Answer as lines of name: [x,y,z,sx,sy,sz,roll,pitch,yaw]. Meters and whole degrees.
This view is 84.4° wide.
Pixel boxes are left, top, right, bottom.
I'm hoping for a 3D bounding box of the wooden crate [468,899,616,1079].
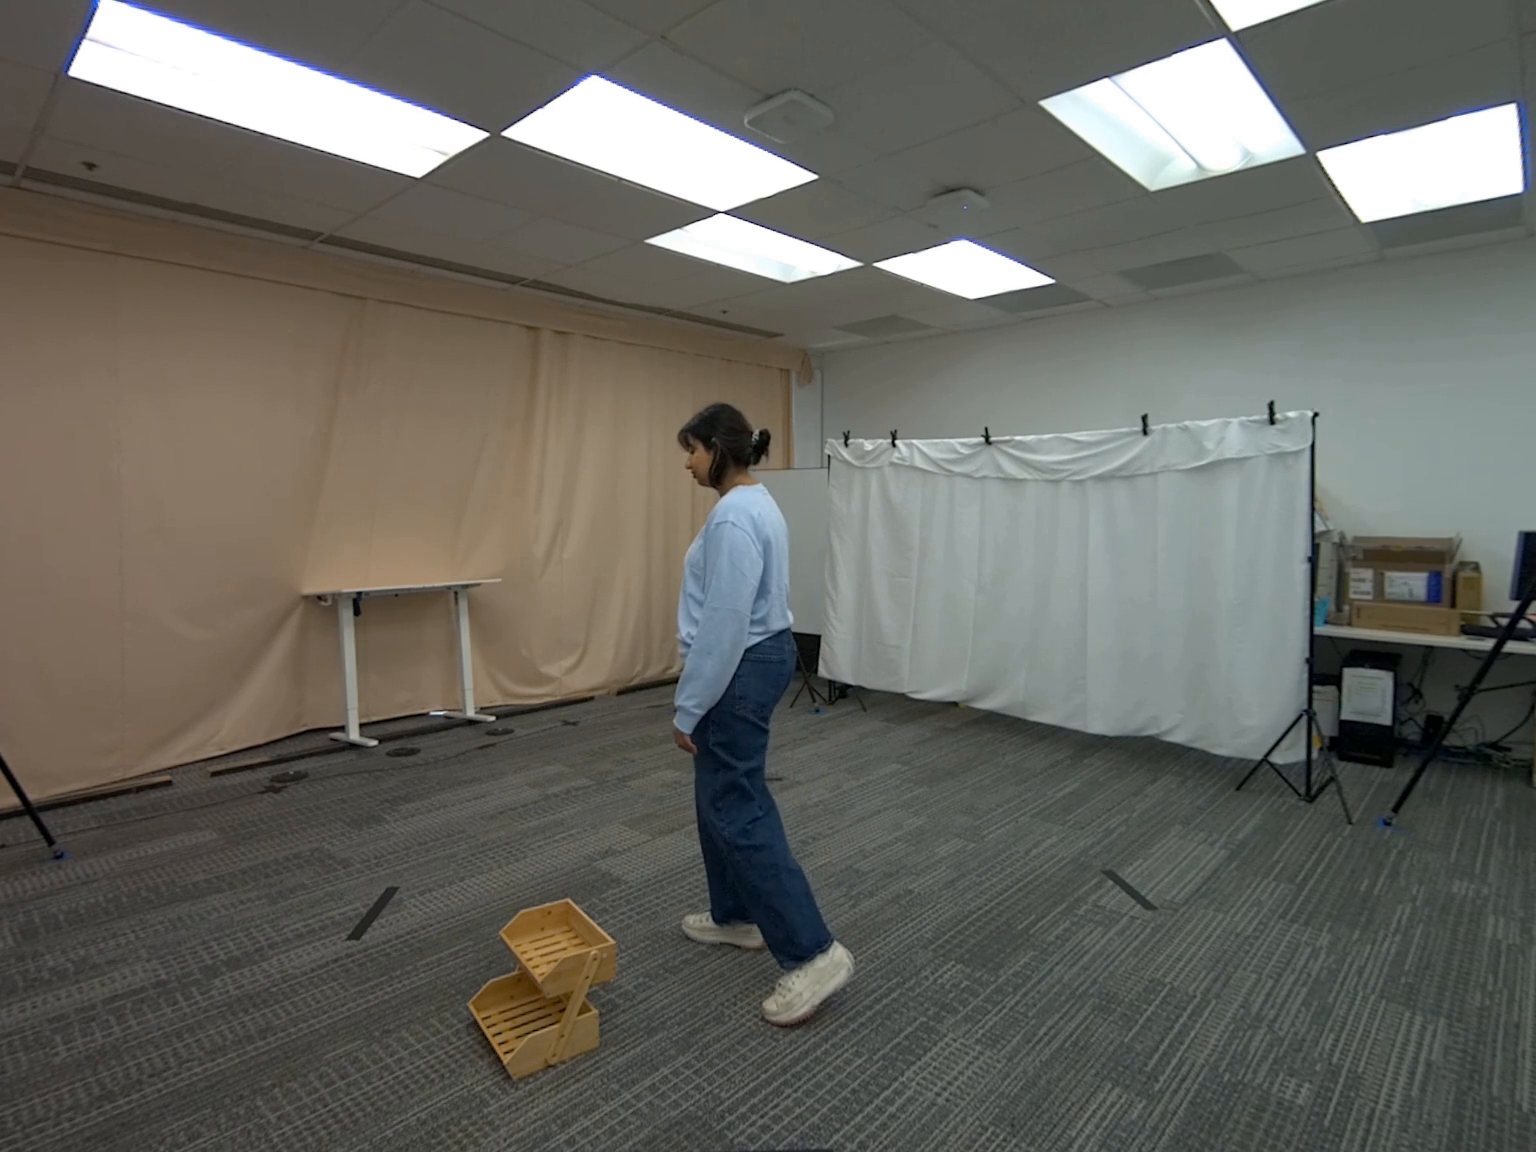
wooden crate: [-0.607,1.082,2.228,0.293,0.273,0.335,-2,4,-36]
